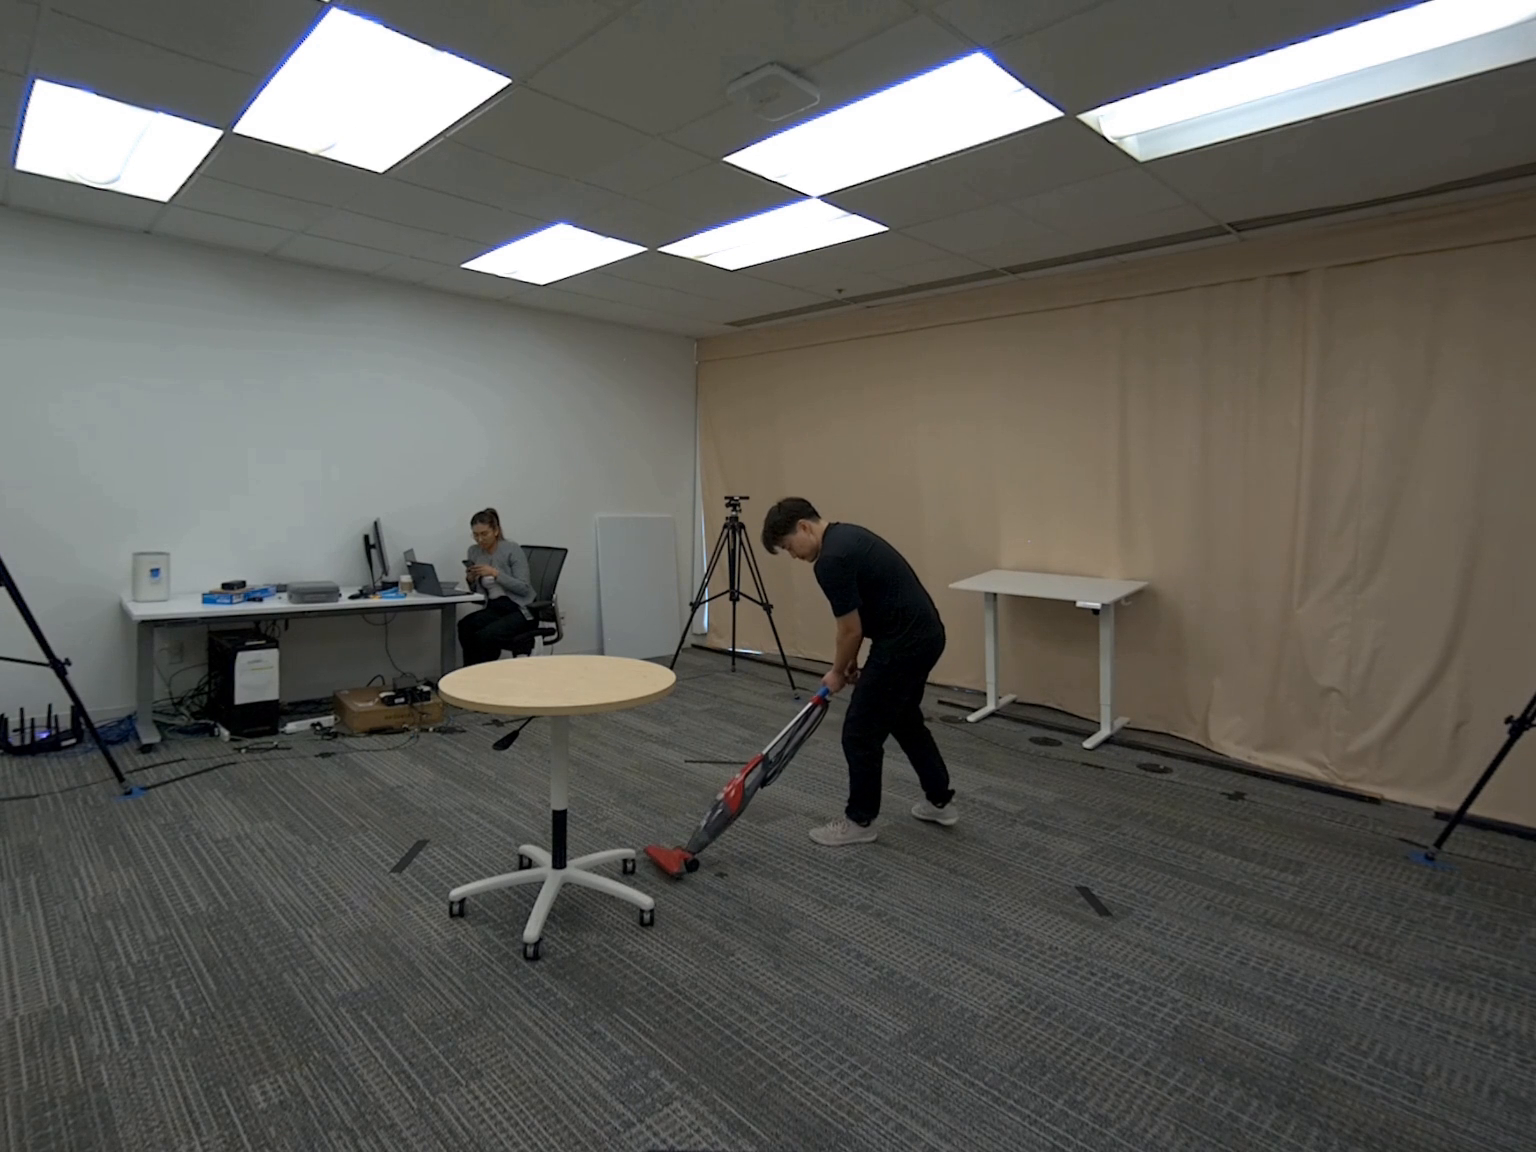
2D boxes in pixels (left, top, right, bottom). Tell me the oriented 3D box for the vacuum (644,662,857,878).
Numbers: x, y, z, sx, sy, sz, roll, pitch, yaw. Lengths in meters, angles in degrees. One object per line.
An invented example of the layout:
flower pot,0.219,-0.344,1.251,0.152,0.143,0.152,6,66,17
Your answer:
vacuum,-0.006,0.753,3.346,1.046,0.141,0.259,-41,26,-23
